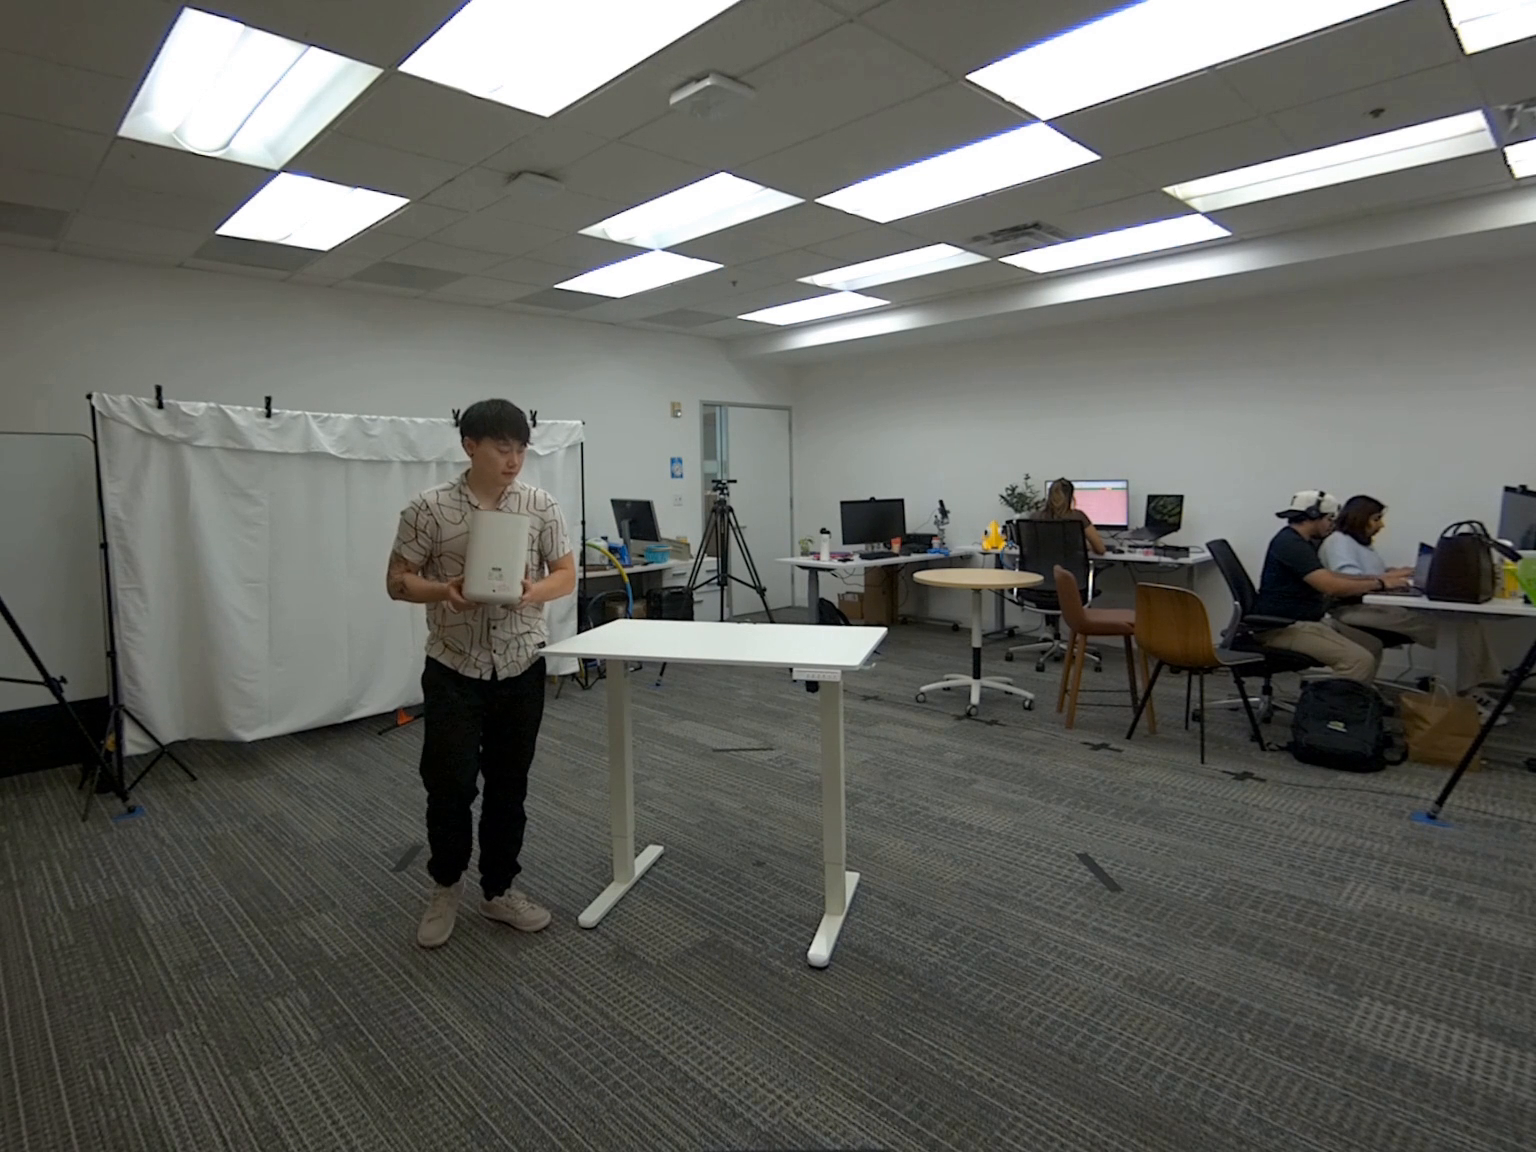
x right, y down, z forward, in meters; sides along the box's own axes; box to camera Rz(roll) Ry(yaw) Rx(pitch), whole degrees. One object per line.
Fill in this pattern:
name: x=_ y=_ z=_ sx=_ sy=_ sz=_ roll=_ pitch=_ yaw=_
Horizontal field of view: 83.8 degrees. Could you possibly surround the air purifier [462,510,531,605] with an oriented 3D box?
air purifier: x=-0.804 y=-0.047 z=2.516 sx=0.168 sy=0.267 sz=0.173 roll=6 pitch=-9 yaw=-18
